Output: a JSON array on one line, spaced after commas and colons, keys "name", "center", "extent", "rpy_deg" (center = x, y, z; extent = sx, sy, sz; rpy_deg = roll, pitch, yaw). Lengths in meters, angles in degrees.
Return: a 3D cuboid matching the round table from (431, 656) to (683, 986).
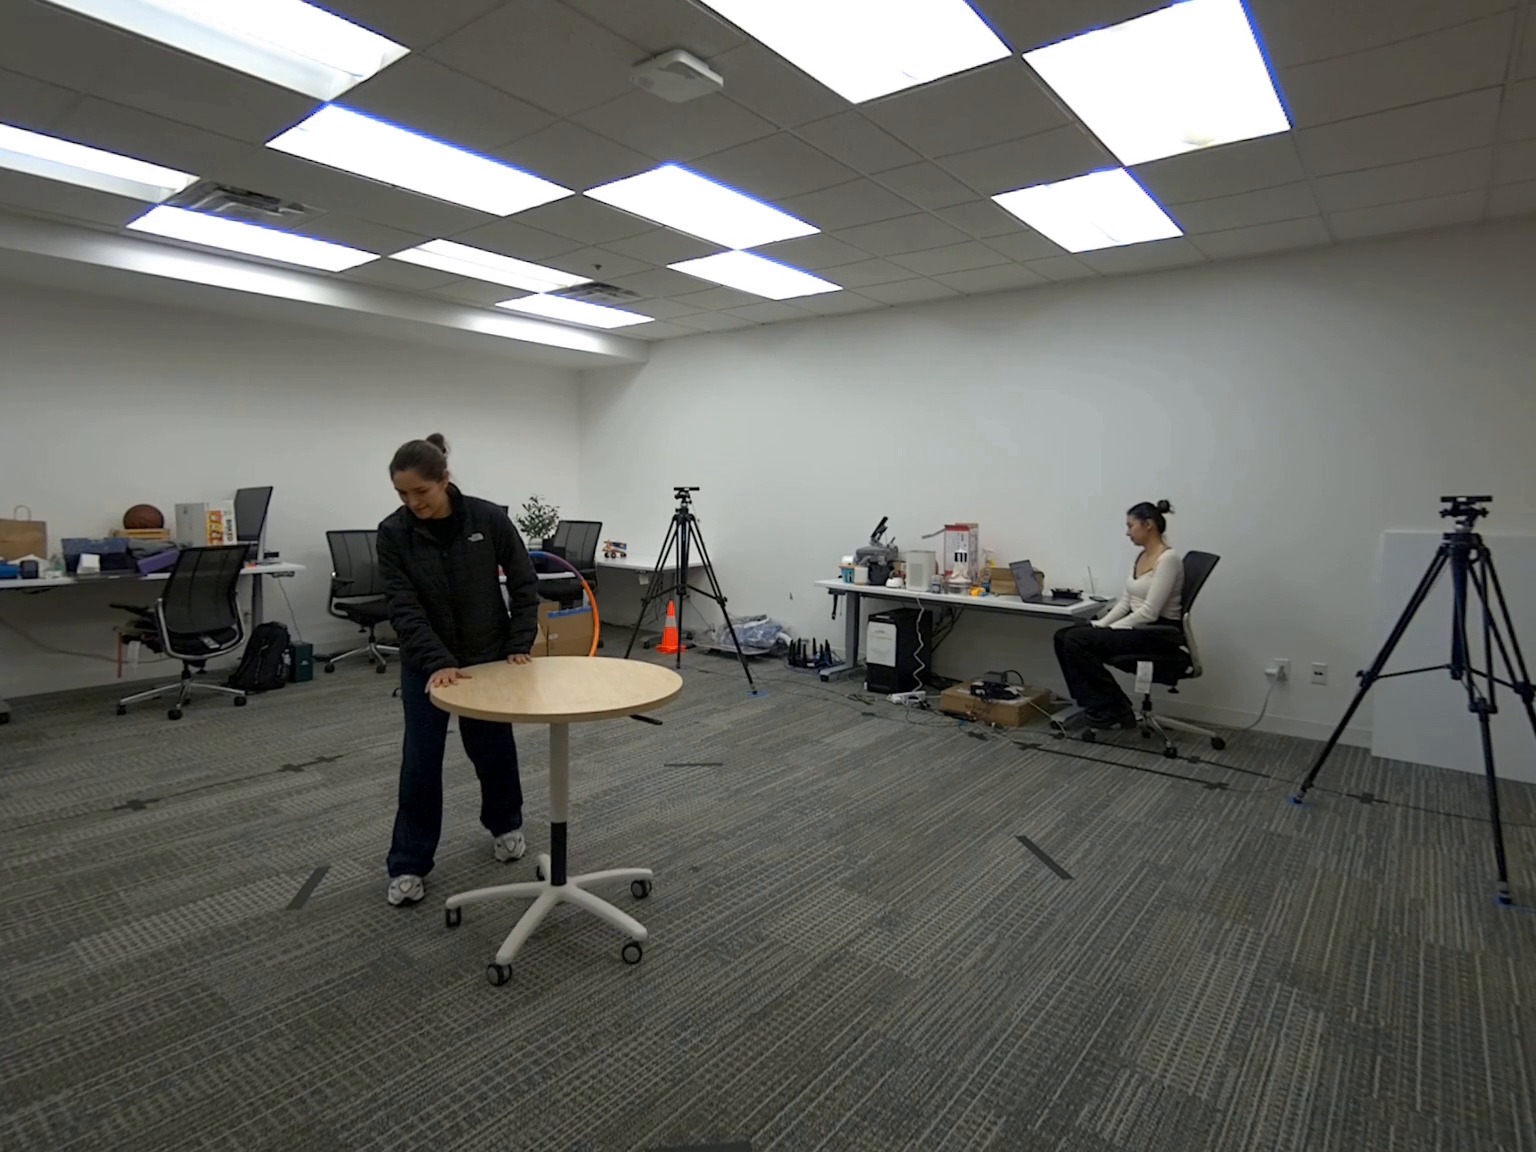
[{"name": "round table", "center": [-0.656, 0.709, 2.684], "extent": [0.784, 0.784, 0.789], "rpy_deg": [1, 4, -2]}]
